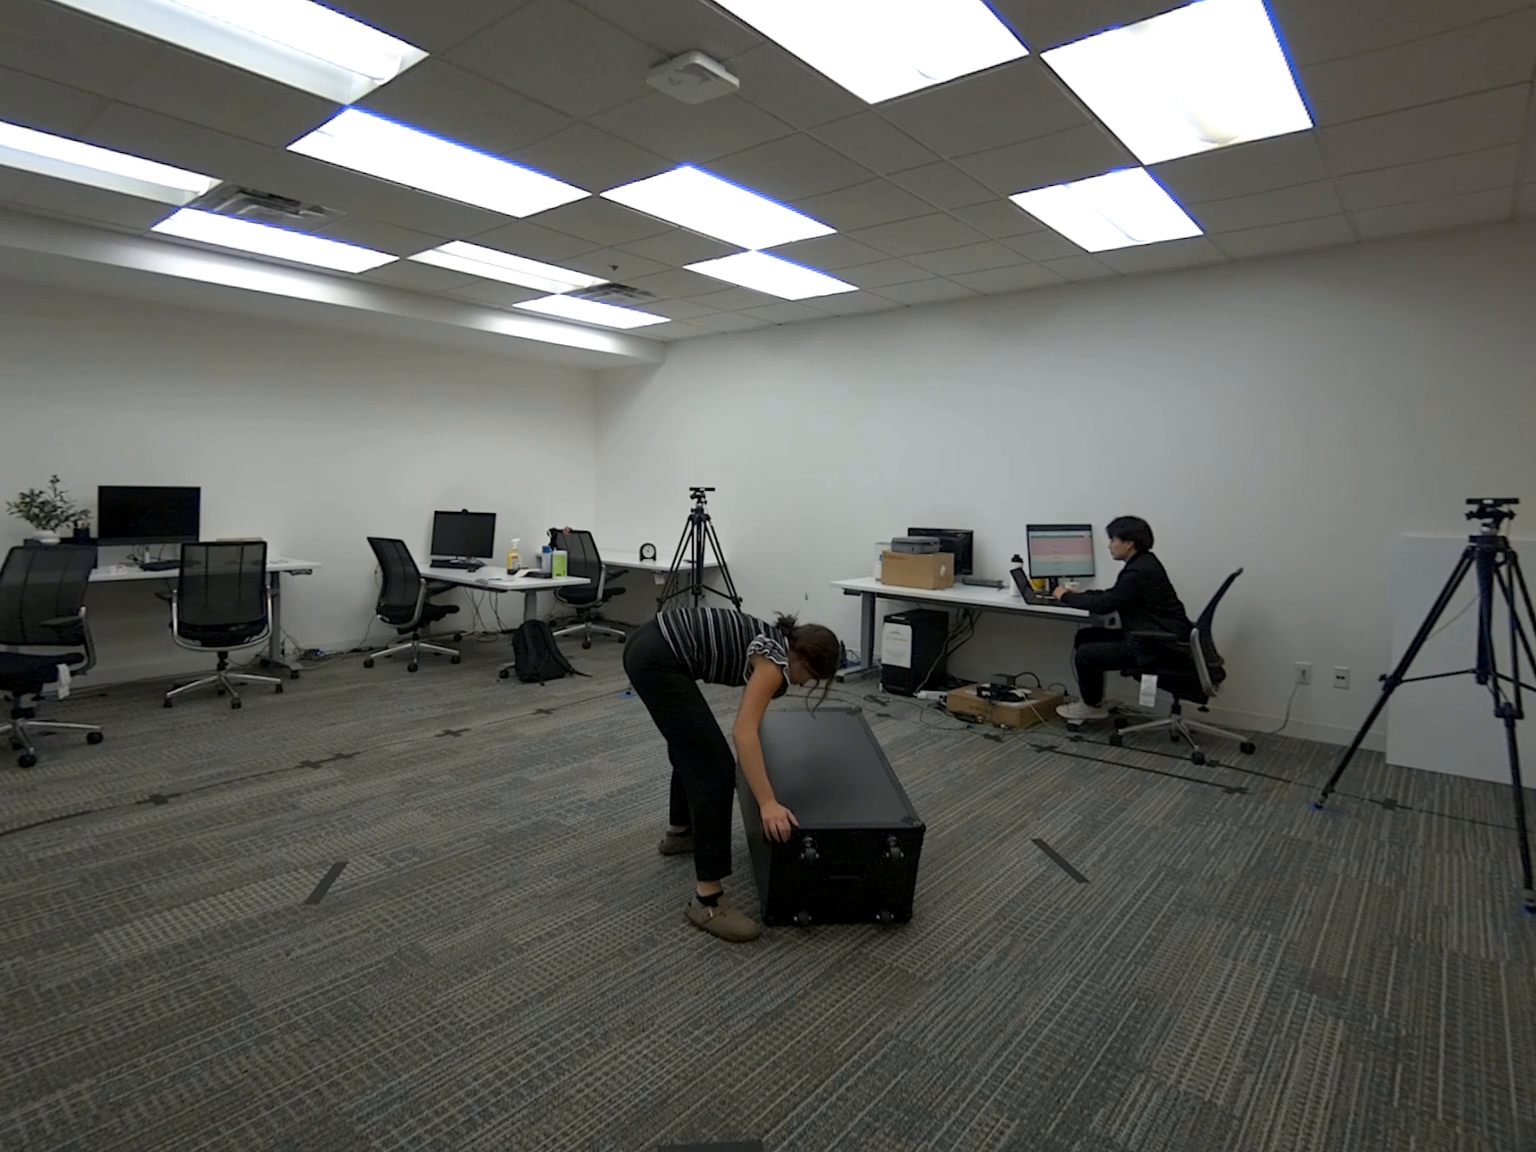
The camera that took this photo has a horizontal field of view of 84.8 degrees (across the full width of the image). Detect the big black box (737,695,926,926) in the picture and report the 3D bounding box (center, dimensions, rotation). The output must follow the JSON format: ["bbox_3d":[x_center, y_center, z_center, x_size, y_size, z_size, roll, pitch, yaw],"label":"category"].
[{"bbox_3d":[0.188,0.832,3.011,0.518,0.390,0.879,0,17,-7],"label":"big black box"}]
